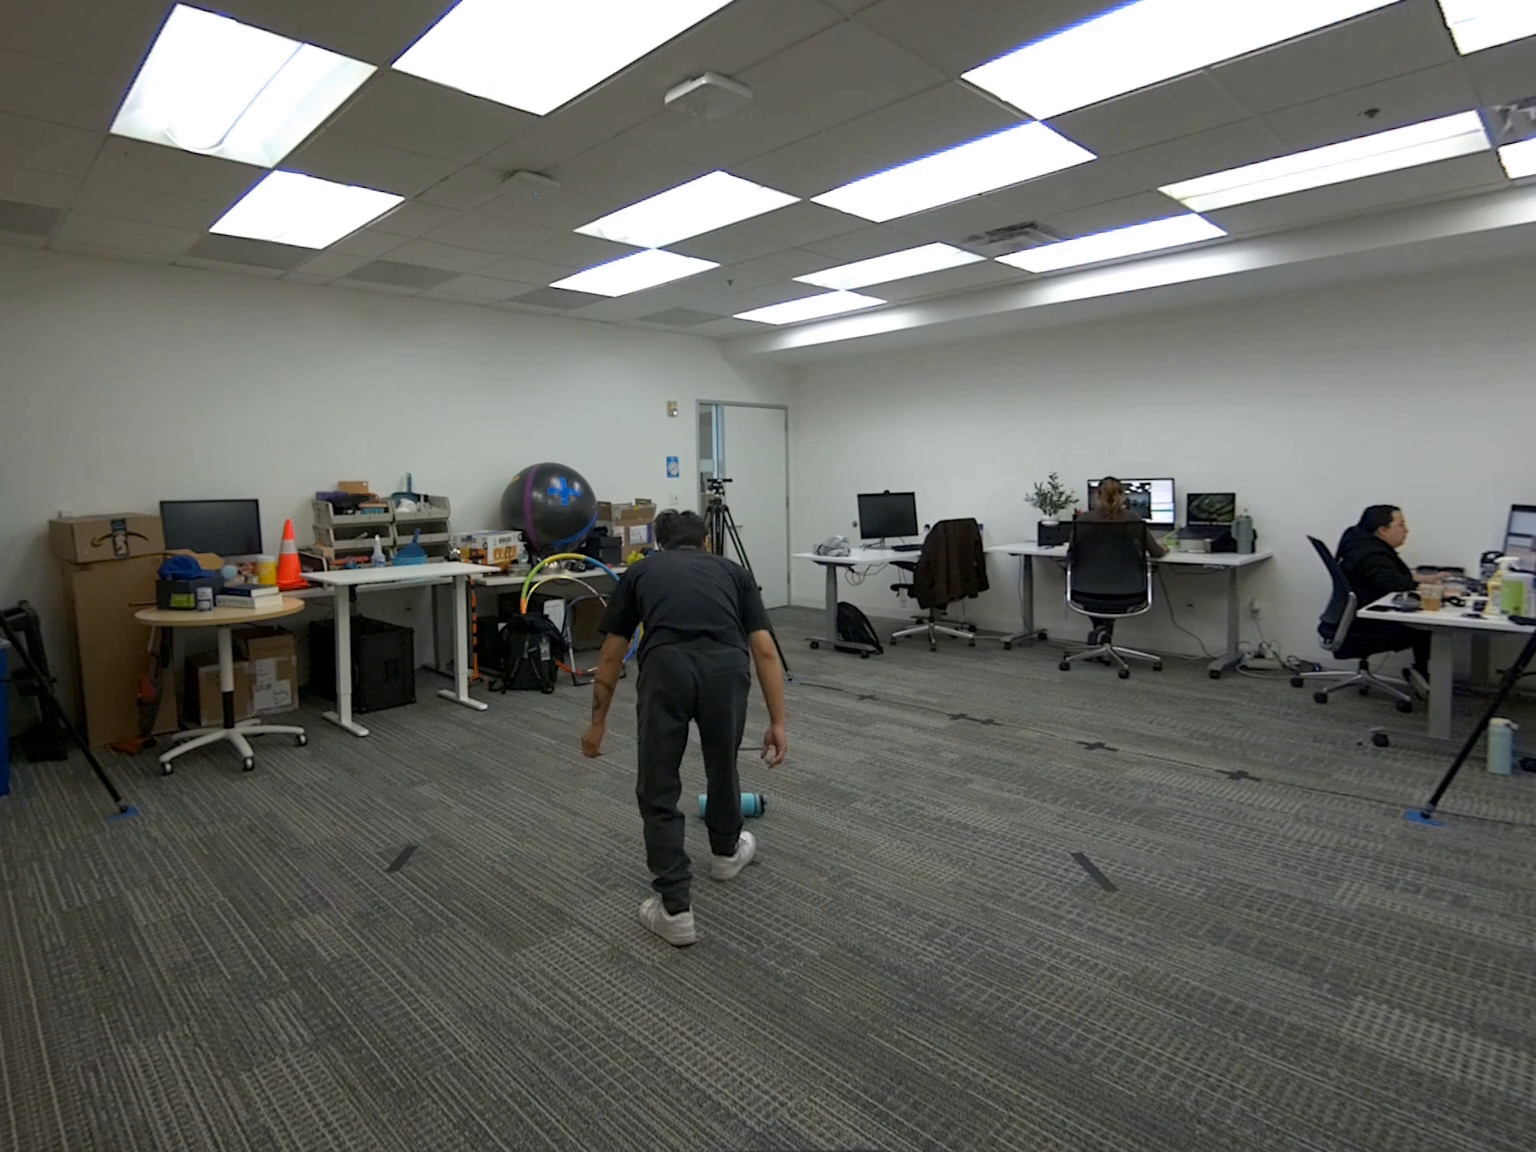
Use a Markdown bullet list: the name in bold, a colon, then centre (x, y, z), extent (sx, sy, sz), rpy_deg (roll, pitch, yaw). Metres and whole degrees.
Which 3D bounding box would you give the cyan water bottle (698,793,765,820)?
- **cyan water bottle**: centre (-0.142, 0.947, 3.544), extent (0.283, 0.092, 0.093), rpy_deg (0, 5, -1)
